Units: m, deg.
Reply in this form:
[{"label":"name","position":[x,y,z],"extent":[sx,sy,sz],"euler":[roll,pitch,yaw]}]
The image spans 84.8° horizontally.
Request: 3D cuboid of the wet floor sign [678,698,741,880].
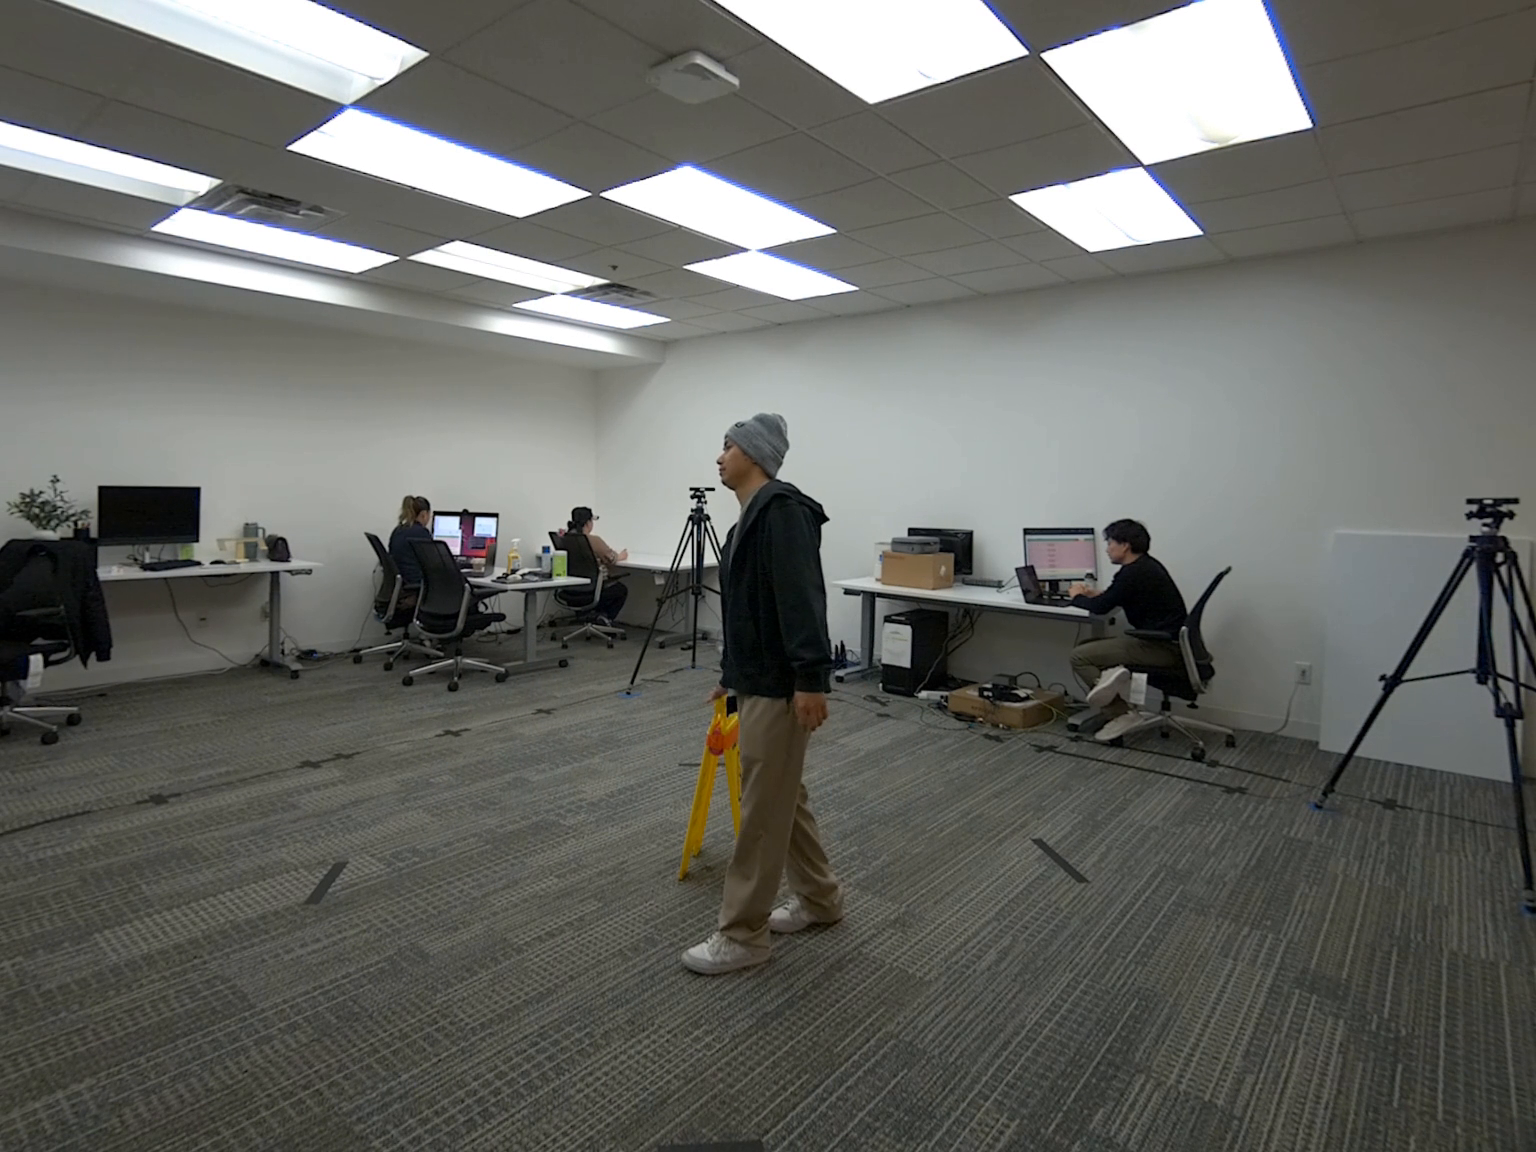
[{"label":"wet floor sign","position":[-0.167,0.744,3.090],"extent":[0.293,0.644,0.280],"euler":[2,4,11]}]
